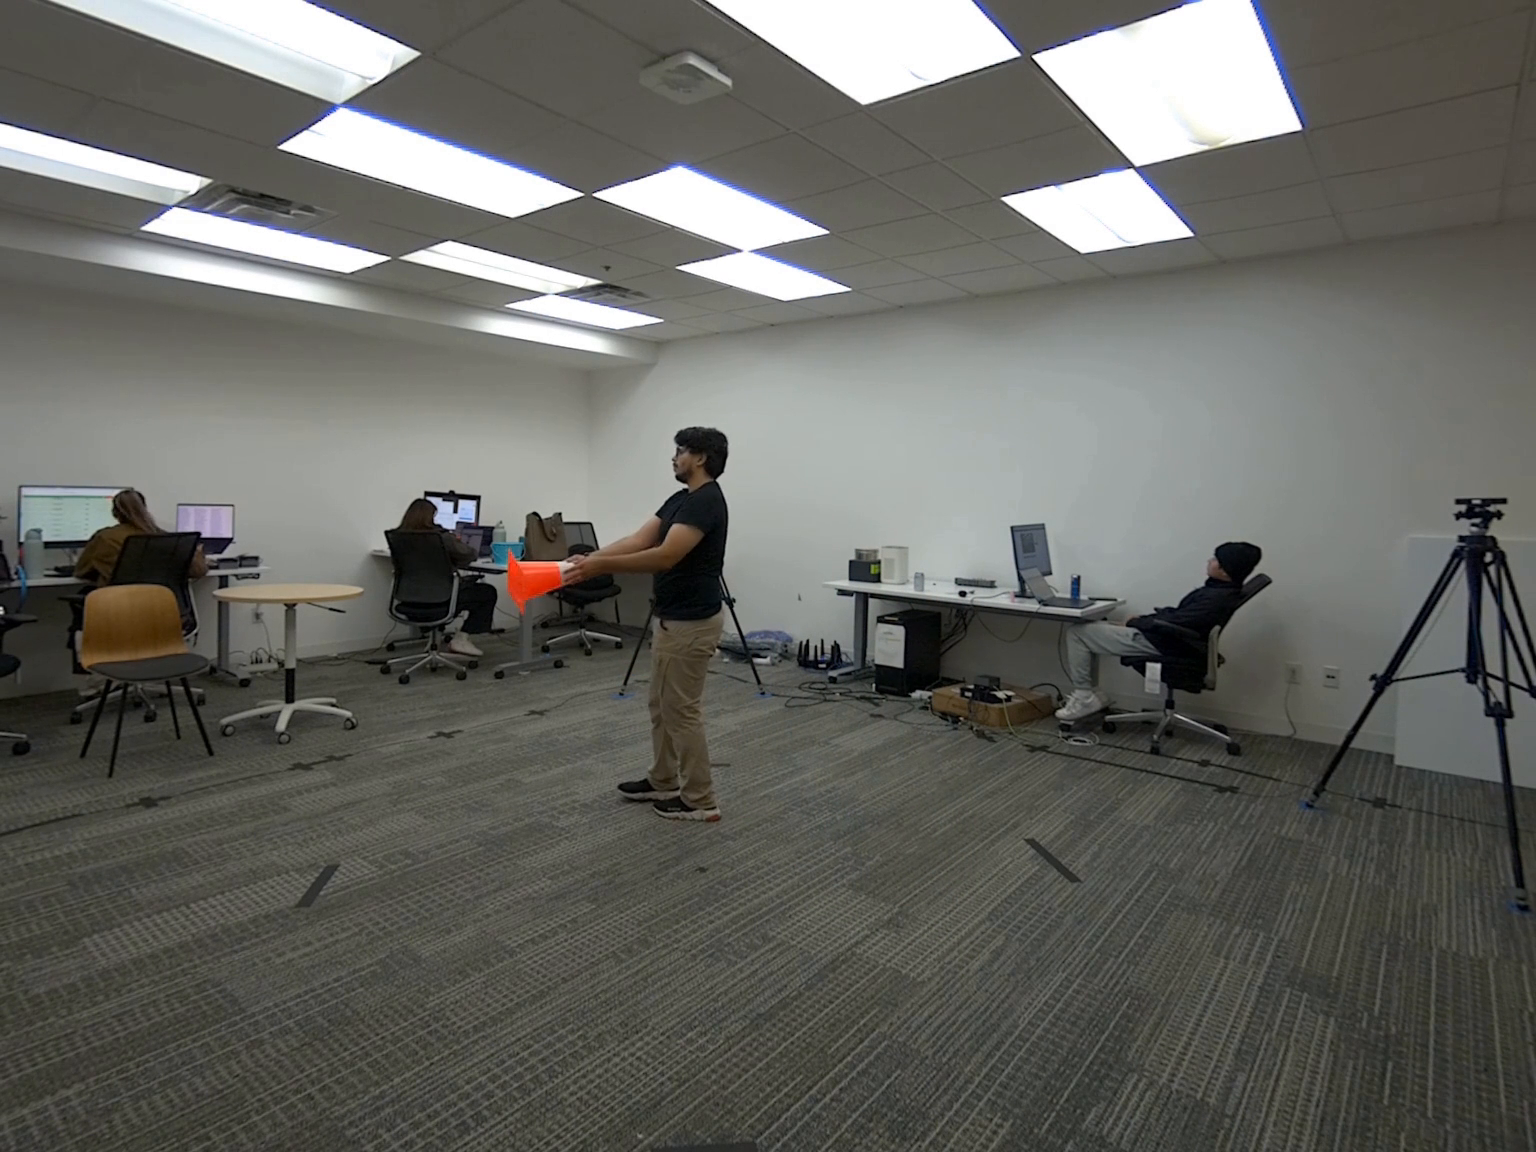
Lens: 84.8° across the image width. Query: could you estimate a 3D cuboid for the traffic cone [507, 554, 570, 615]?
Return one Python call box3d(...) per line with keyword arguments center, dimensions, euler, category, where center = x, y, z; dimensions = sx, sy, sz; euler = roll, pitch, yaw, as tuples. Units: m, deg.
box3d(center=(-0.819, -0.005, 3.401), dimensions=(0.376, 0.201, 0.211), euler=(-4, 28, -22), category="traffic cone")
